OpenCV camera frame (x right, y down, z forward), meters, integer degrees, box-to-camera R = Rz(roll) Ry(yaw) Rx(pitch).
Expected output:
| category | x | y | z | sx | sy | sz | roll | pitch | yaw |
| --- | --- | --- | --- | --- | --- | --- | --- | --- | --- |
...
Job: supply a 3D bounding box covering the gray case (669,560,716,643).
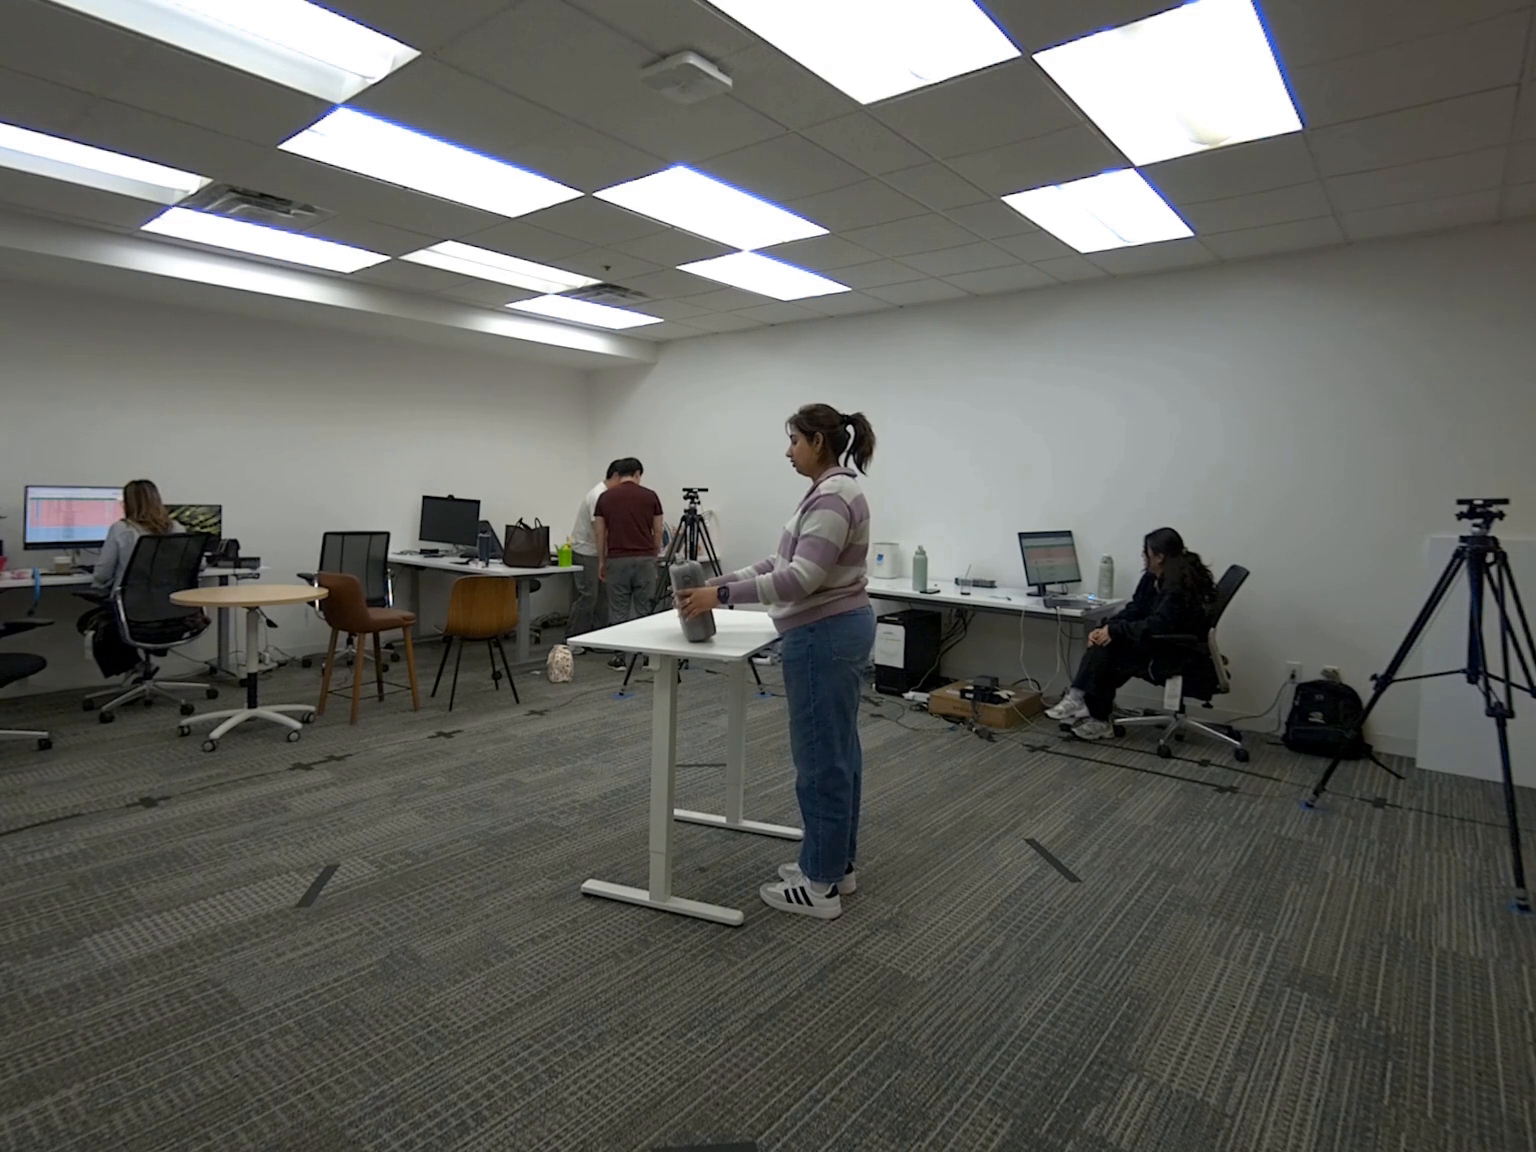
| category | x | y | z | sx | sy | sz | roll | pitch | yaw |
| --- | --- | --- | --- | --- | --- | --- | --- | --- | --- |
| gray case | -0.269 | 0.078 | 2.878 | 0.104 | 0.260 | 0.259 | -11 | 3 | -8 |
